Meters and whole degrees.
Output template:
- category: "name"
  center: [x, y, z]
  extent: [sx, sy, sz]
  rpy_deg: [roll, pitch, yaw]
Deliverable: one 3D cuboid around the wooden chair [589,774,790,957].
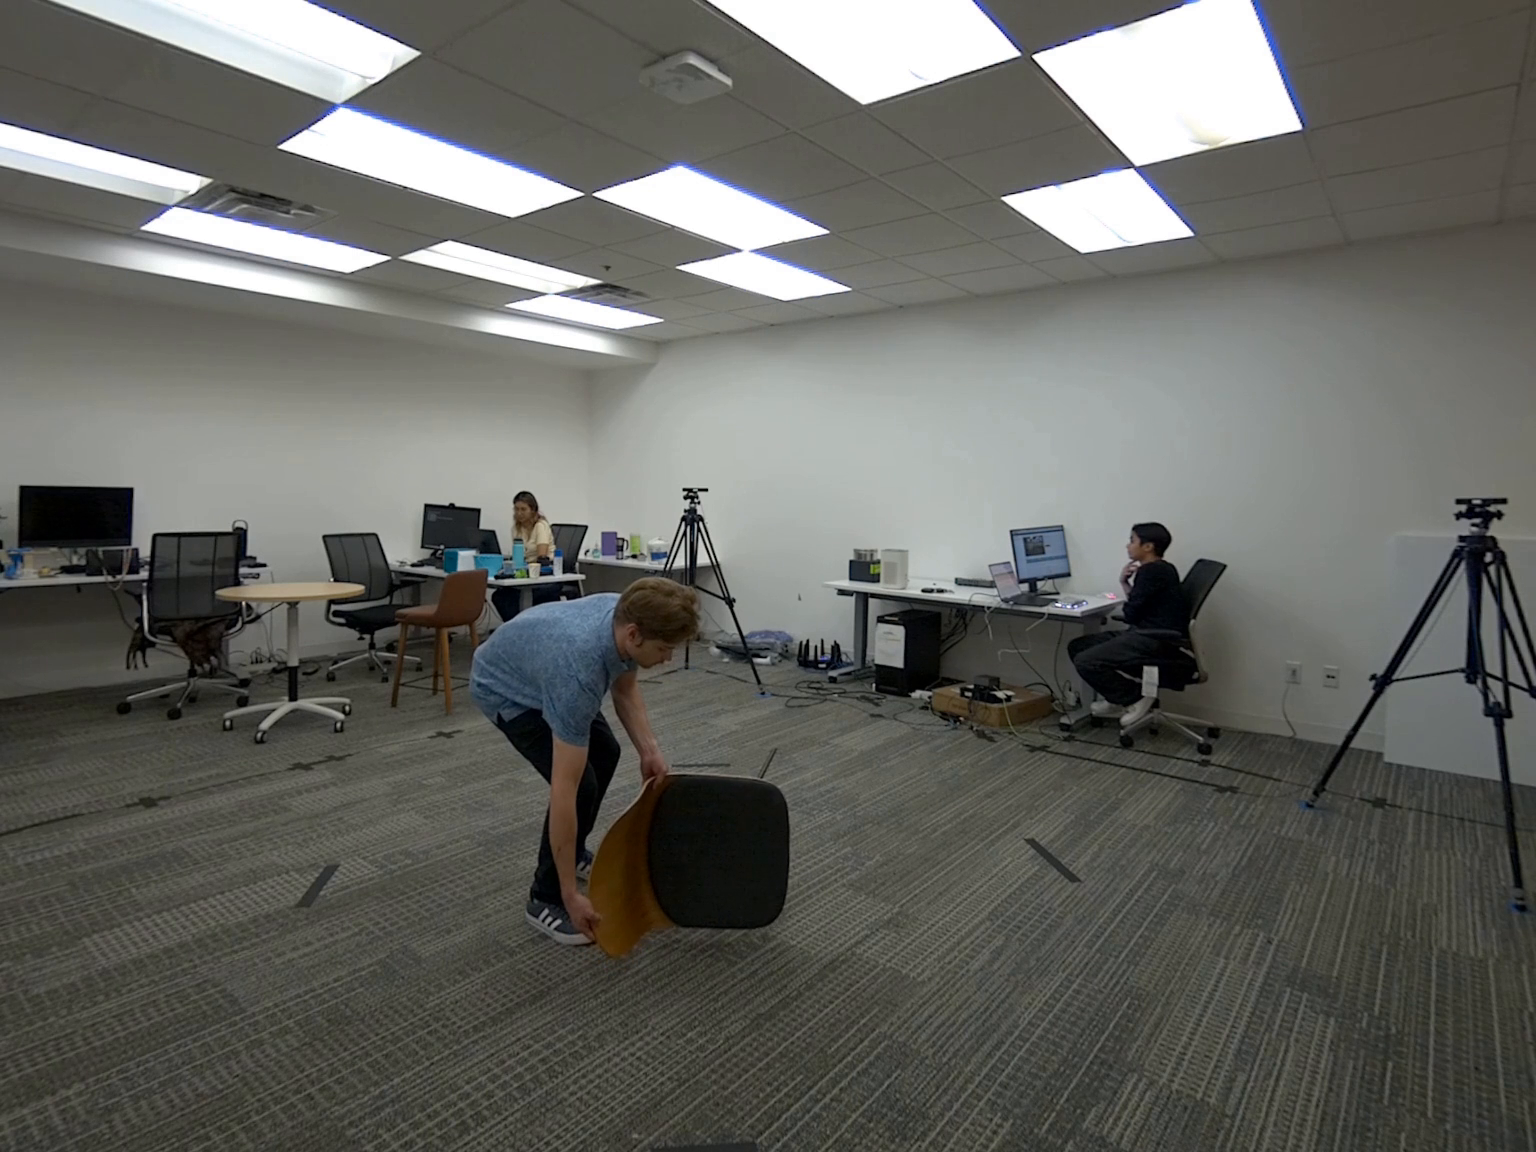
- category: "wooden chair"
  center: [-0.201, 0.857, 2.687]
  extent: [0.527, 0.478, 0.871]
  rpy_deg: [2, 0, 5]
